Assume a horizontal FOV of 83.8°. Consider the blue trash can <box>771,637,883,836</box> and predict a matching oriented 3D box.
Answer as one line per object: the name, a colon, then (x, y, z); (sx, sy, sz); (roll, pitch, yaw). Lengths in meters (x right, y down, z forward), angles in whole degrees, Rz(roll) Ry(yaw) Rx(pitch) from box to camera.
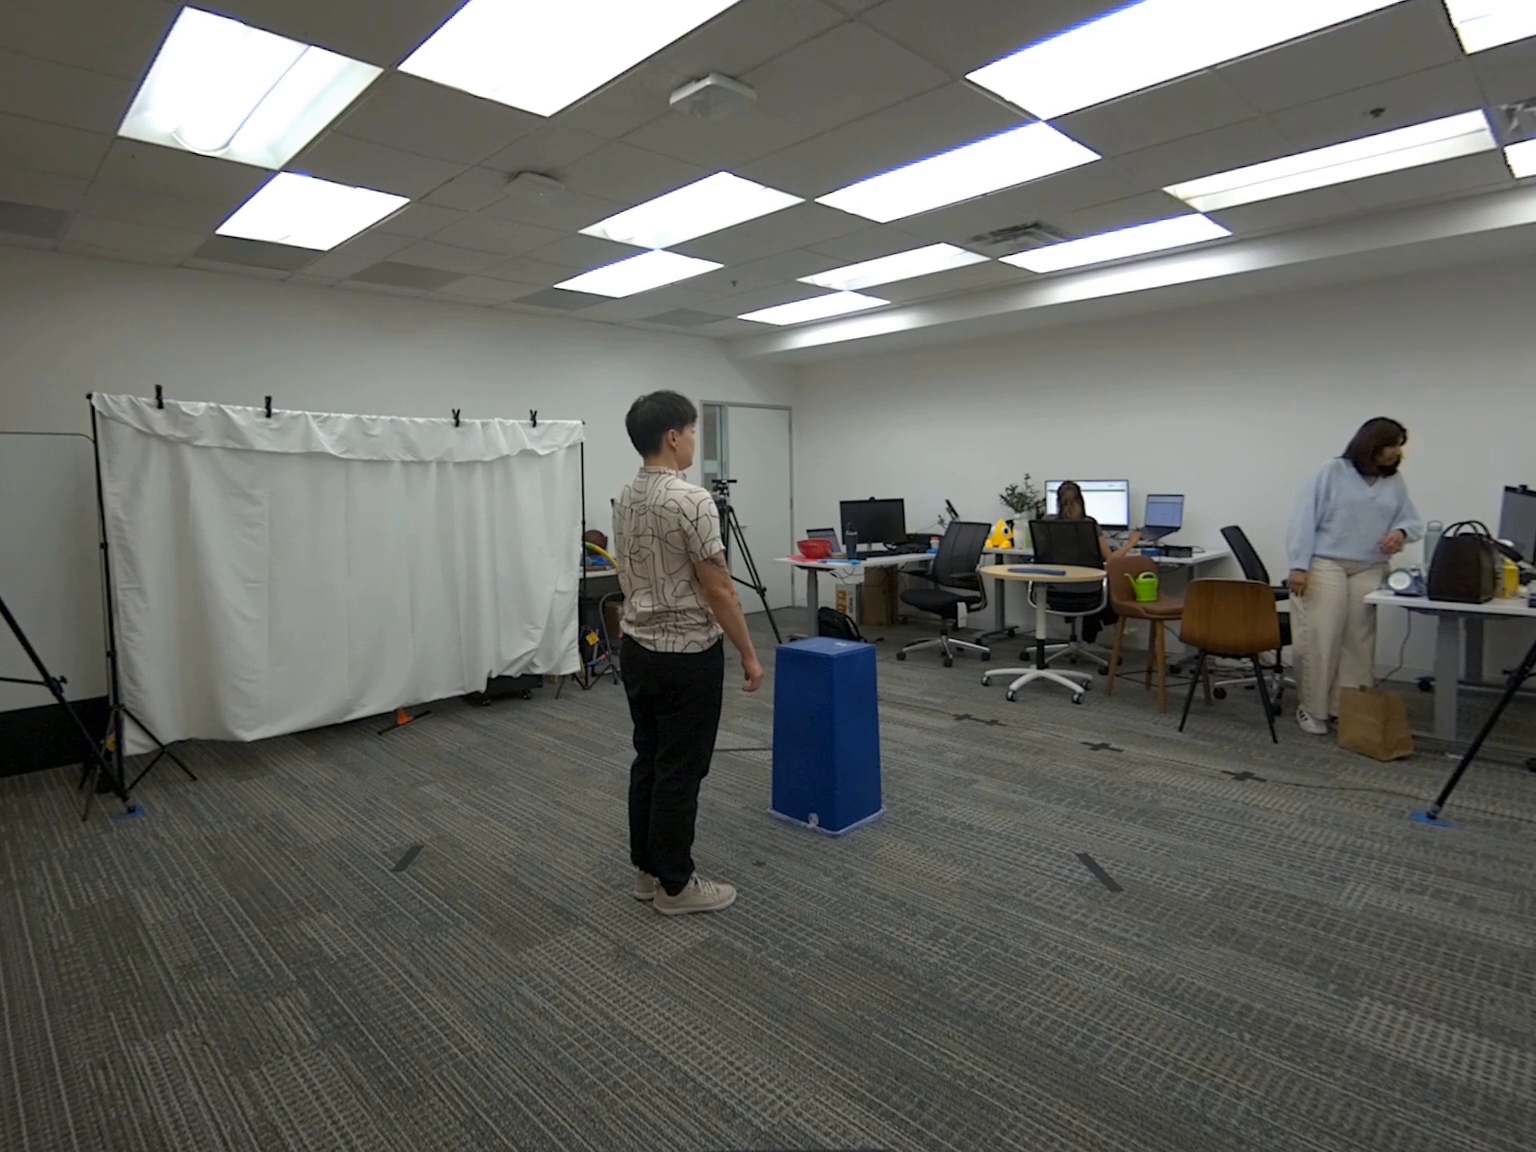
blue trash can: (0.252, 0.640, 3.550); (0.390, 0.711, 0.364); (4, 5, 43)
